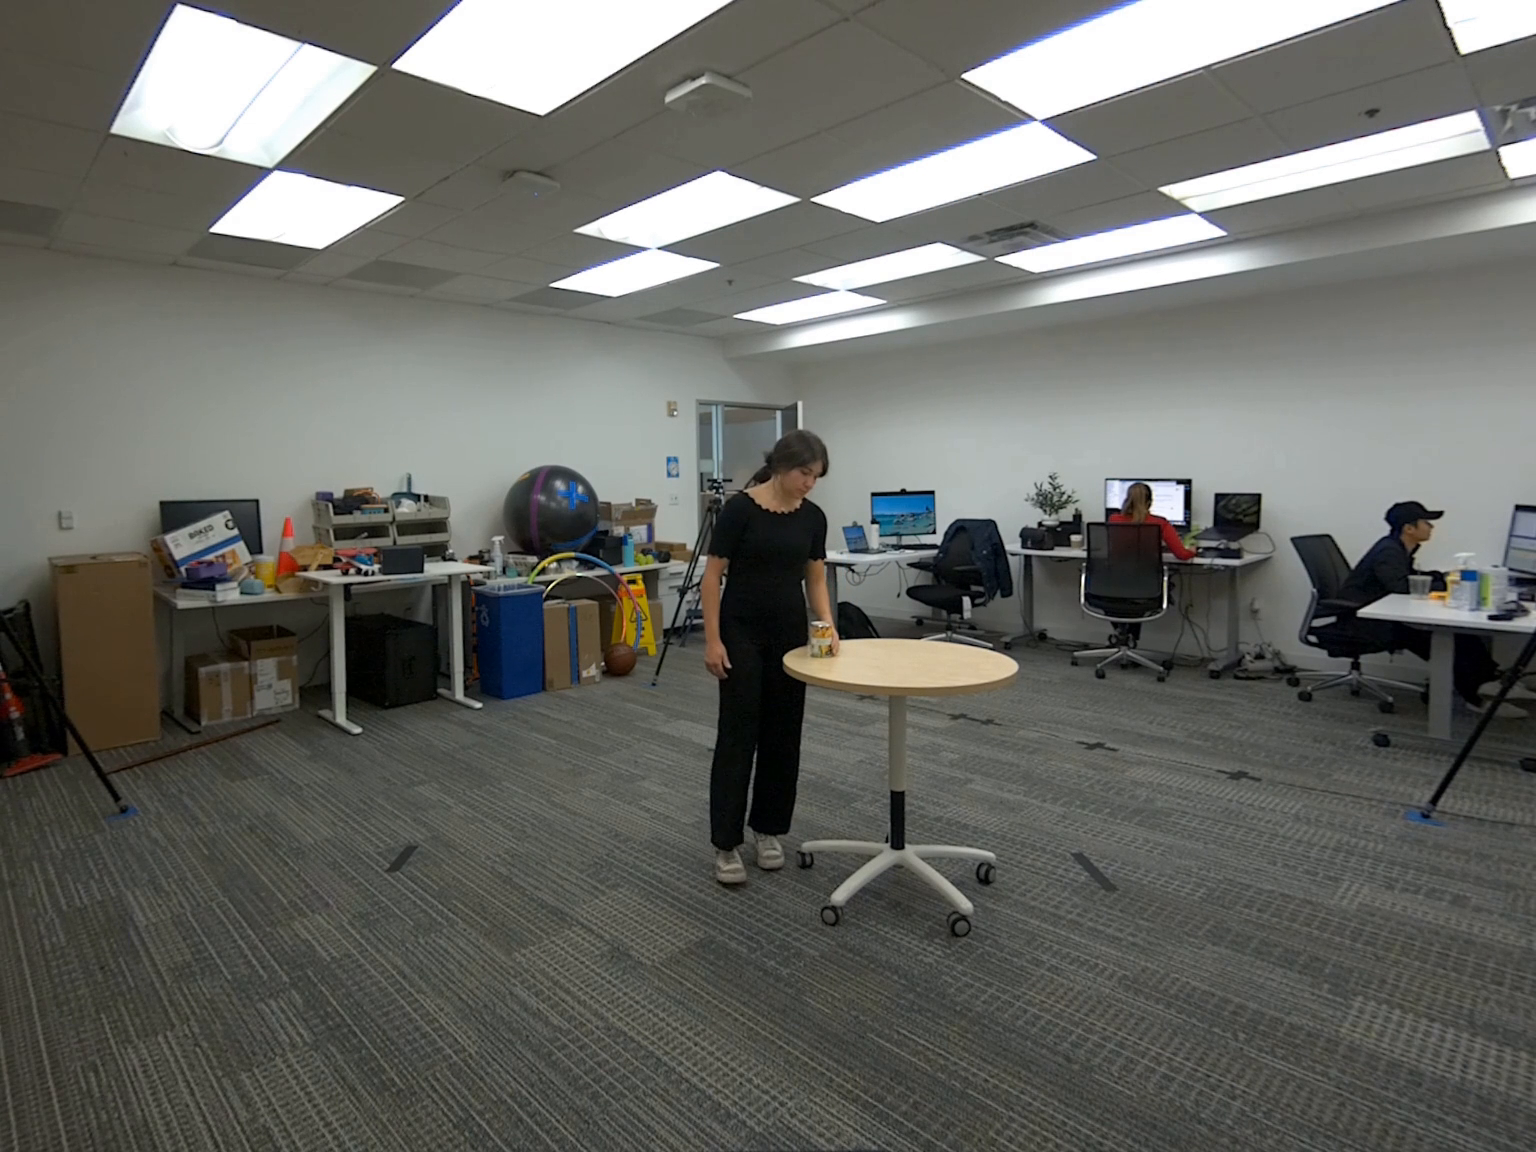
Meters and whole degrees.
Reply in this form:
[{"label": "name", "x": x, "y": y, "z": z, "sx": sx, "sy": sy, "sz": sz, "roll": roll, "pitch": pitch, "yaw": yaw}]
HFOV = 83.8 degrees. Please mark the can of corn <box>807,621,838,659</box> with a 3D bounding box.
[{"label": "can of corn", "x": 0.176, "y": 0.222, "z": 2.939, "sx": 0.074, "sy": 0.111, "sz": 0.074, "roll": -1, "pitch": 4, "yaw": -2}]
